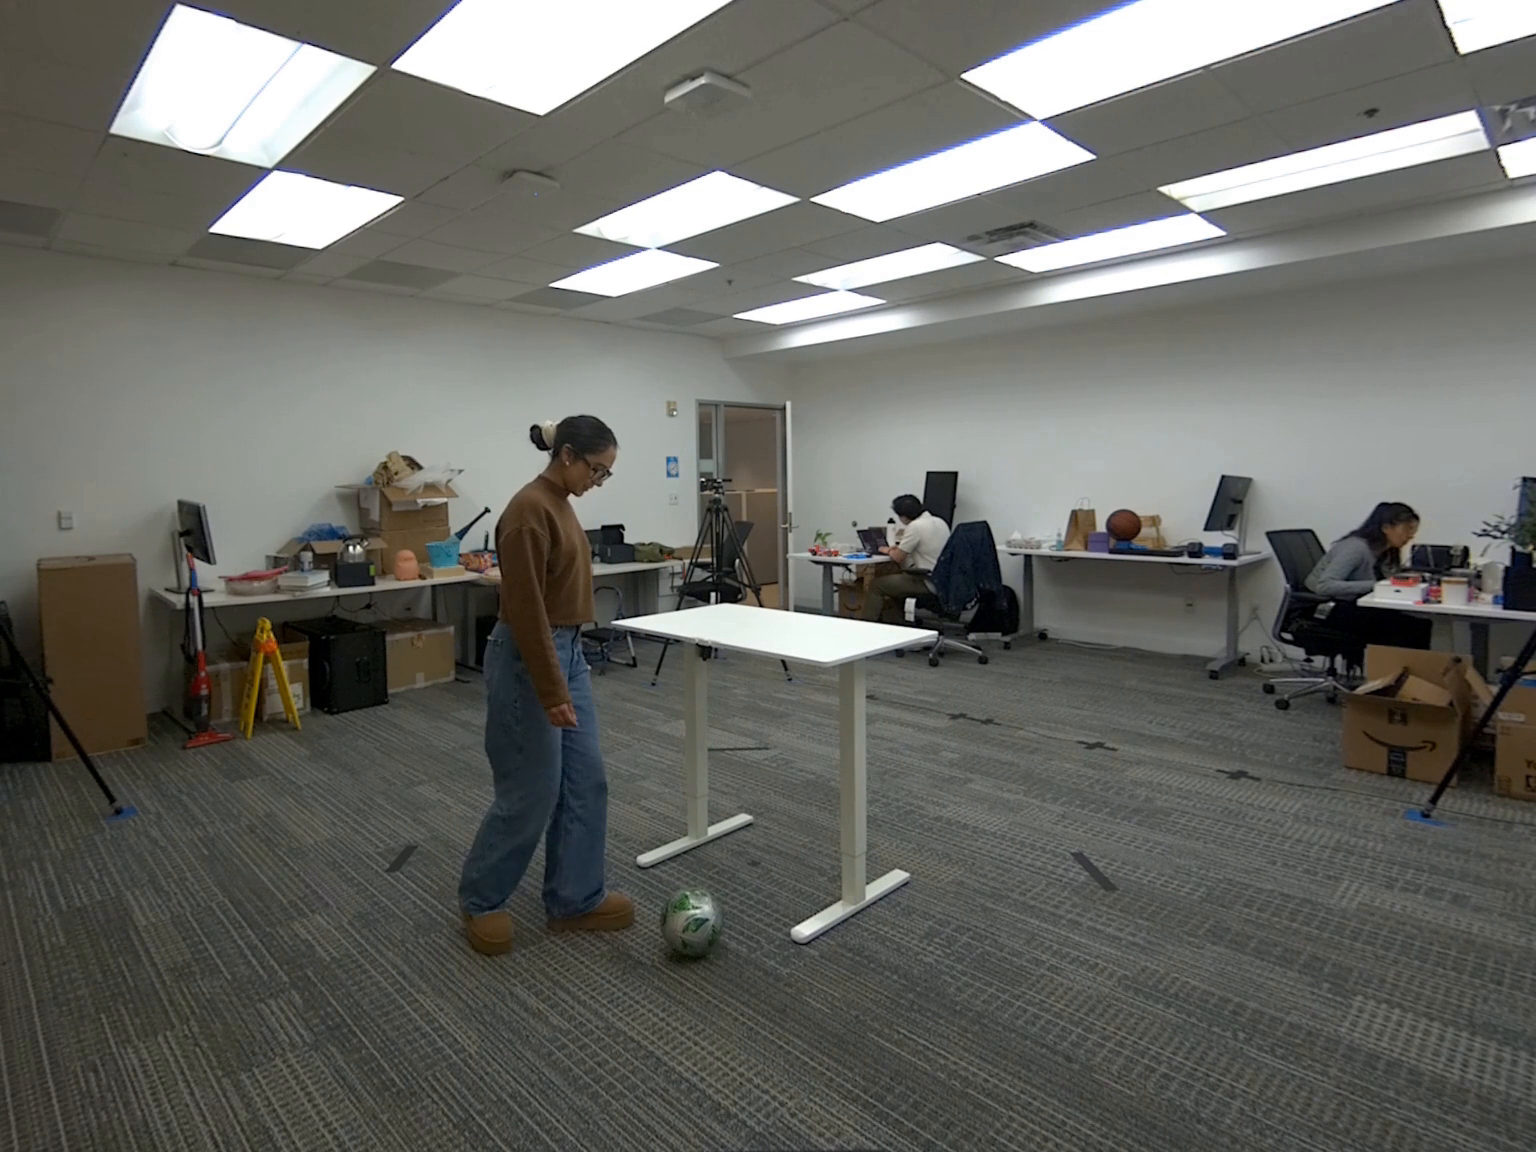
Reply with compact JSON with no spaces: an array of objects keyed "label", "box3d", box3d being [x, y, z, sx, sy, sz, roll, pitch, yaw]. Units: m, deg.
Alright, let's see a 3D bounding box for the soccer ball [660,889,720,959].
[{"label":"soccer ball","box3d":[-0.223,1.023,2.525,0.187,0.187,0.188,-1,5,-2]}]
